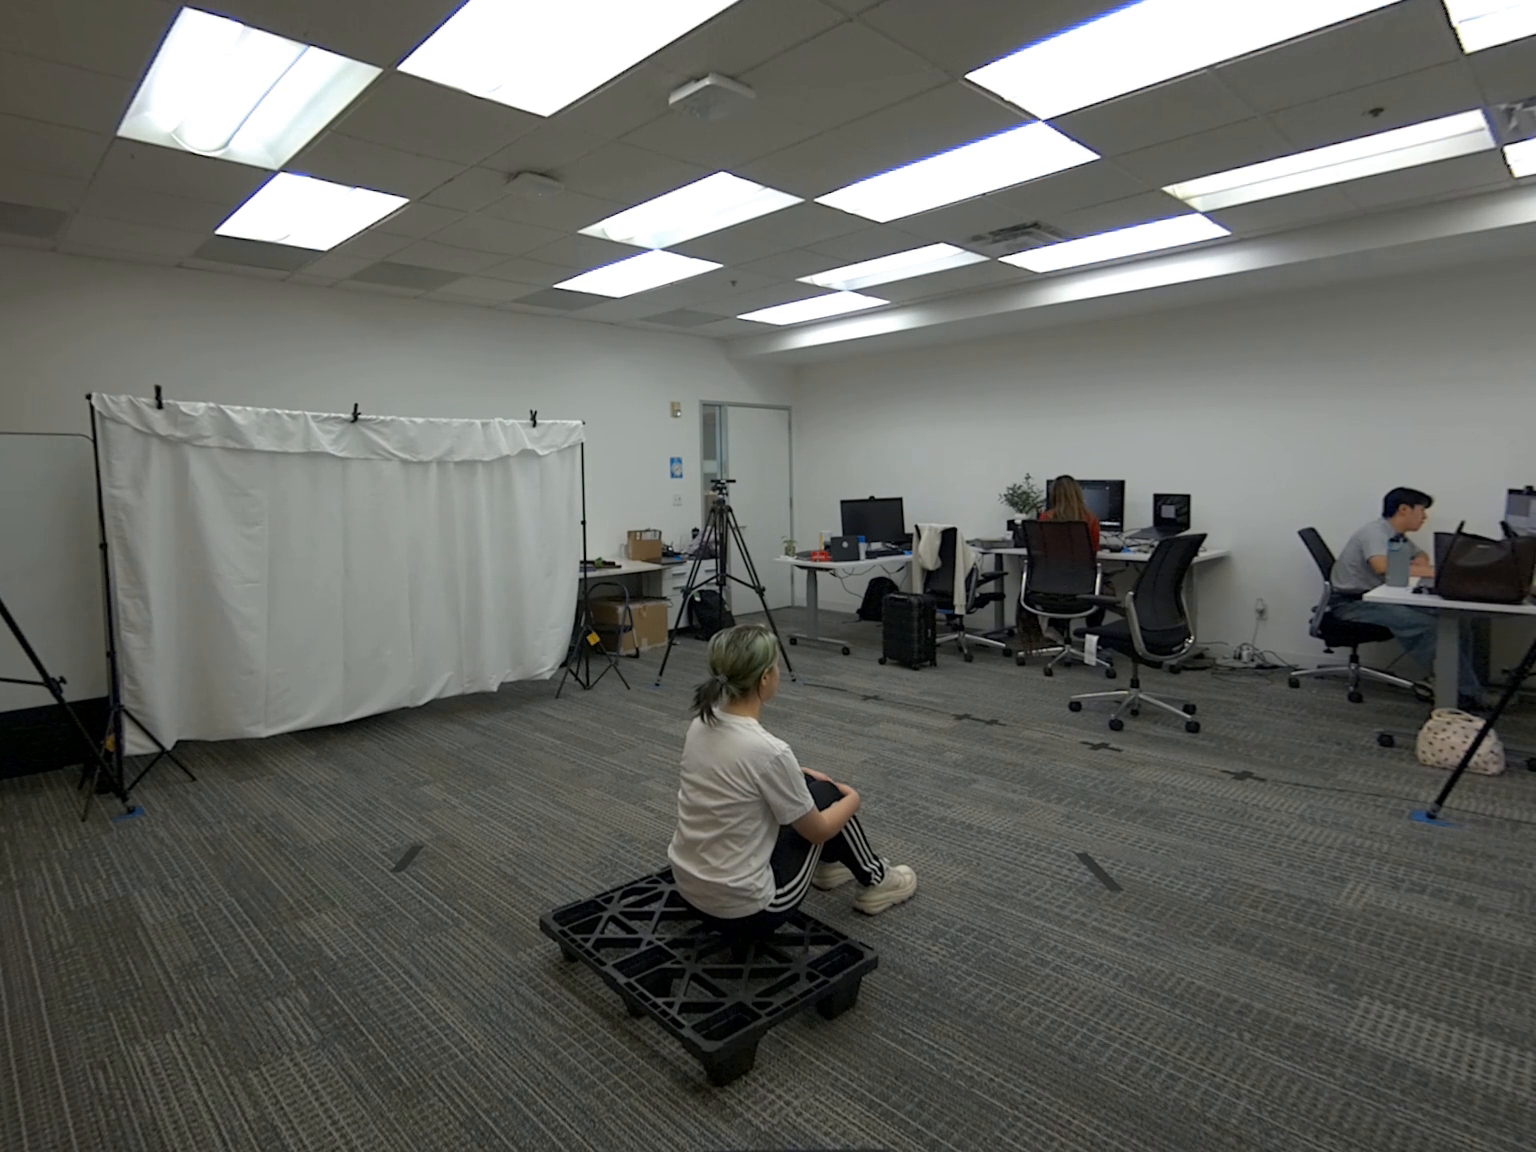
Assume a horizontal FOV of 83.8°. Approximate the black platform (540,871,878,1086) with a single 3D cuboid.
[{"bbox_3d":[-0.184,1.065,2.398,0.589,0.142,0.831,-6,9,-40],"label":"black platform"}]
